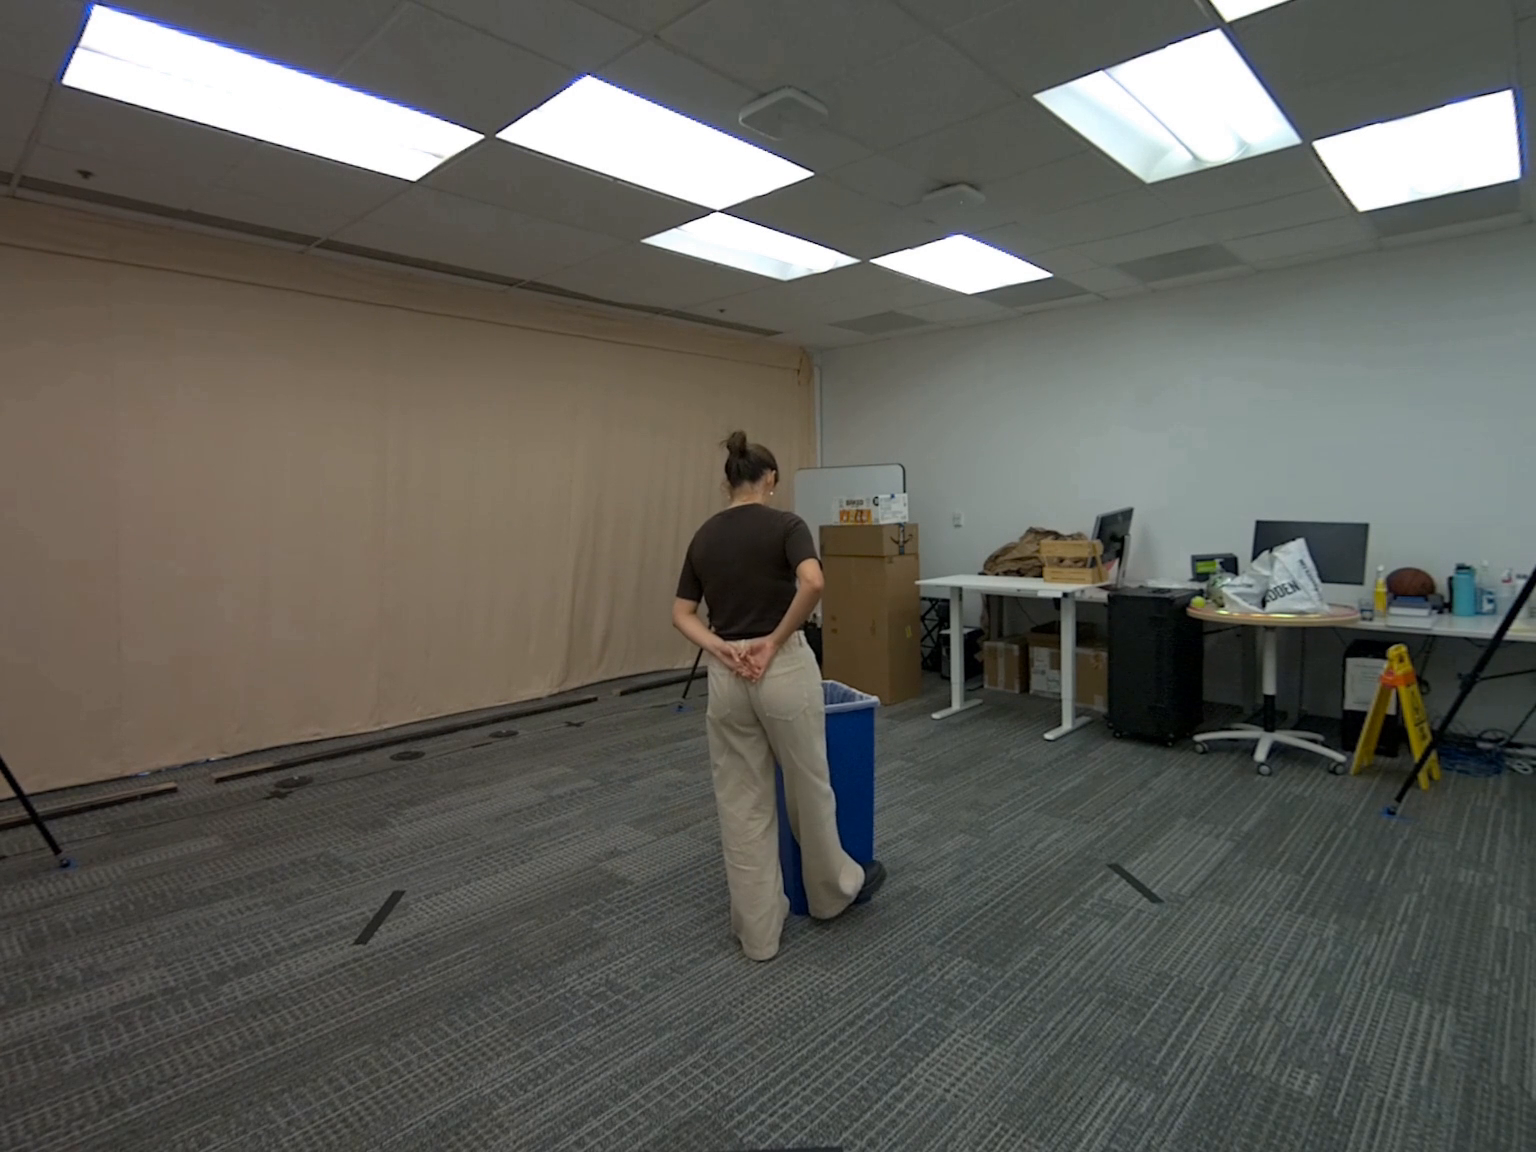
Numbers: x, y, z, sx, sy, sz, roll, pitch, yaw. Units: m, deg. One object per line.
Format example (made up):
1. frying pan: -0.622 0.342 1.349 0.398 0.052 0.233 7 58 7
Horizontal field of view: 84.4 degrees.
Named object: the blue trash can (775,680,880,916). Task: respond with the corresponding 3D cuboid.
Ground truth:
1. blue trash can: 0.156 0.773 3.017 0.369 0.712 0.384 -3 4 -25
